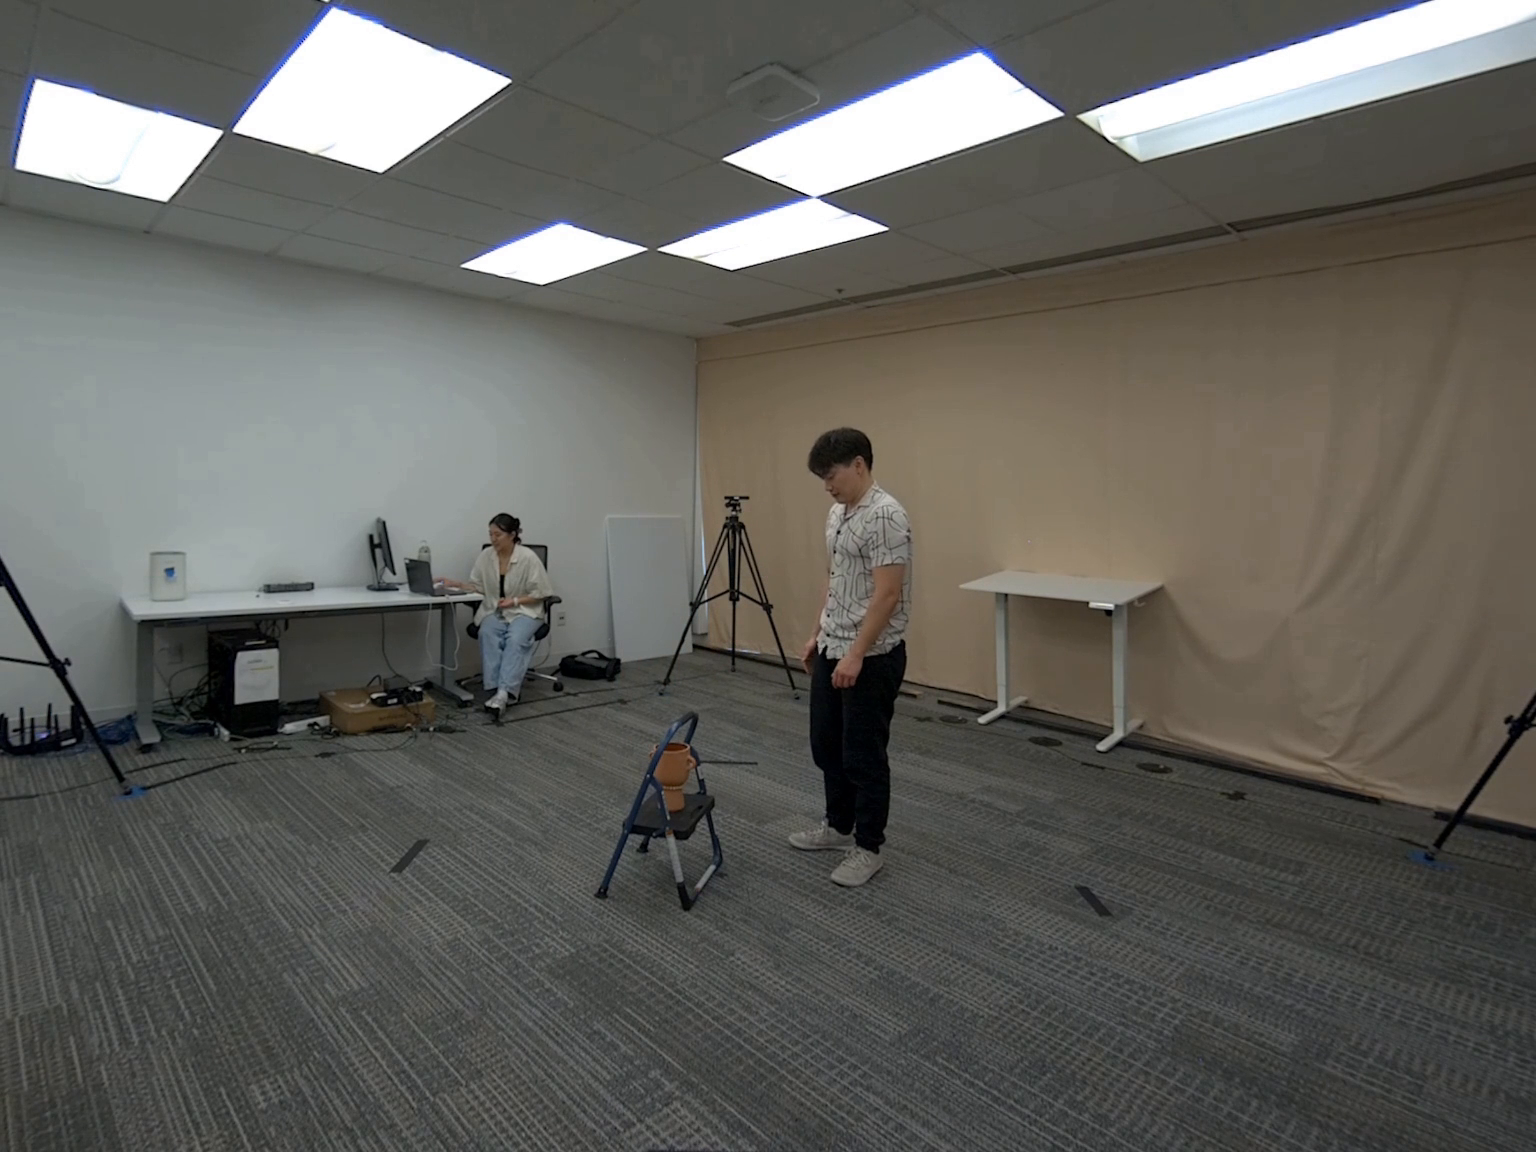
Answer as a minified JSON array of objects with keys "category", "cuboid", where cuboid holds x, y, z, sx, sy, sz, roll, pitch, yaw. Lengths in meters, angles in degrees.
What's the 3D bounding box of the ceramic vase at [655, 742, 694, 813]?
[{"category":"ceramic vase","cuboid":[-0.353,0.724,3.062,0.132,0.219,0.162,0,3,-27]}]
